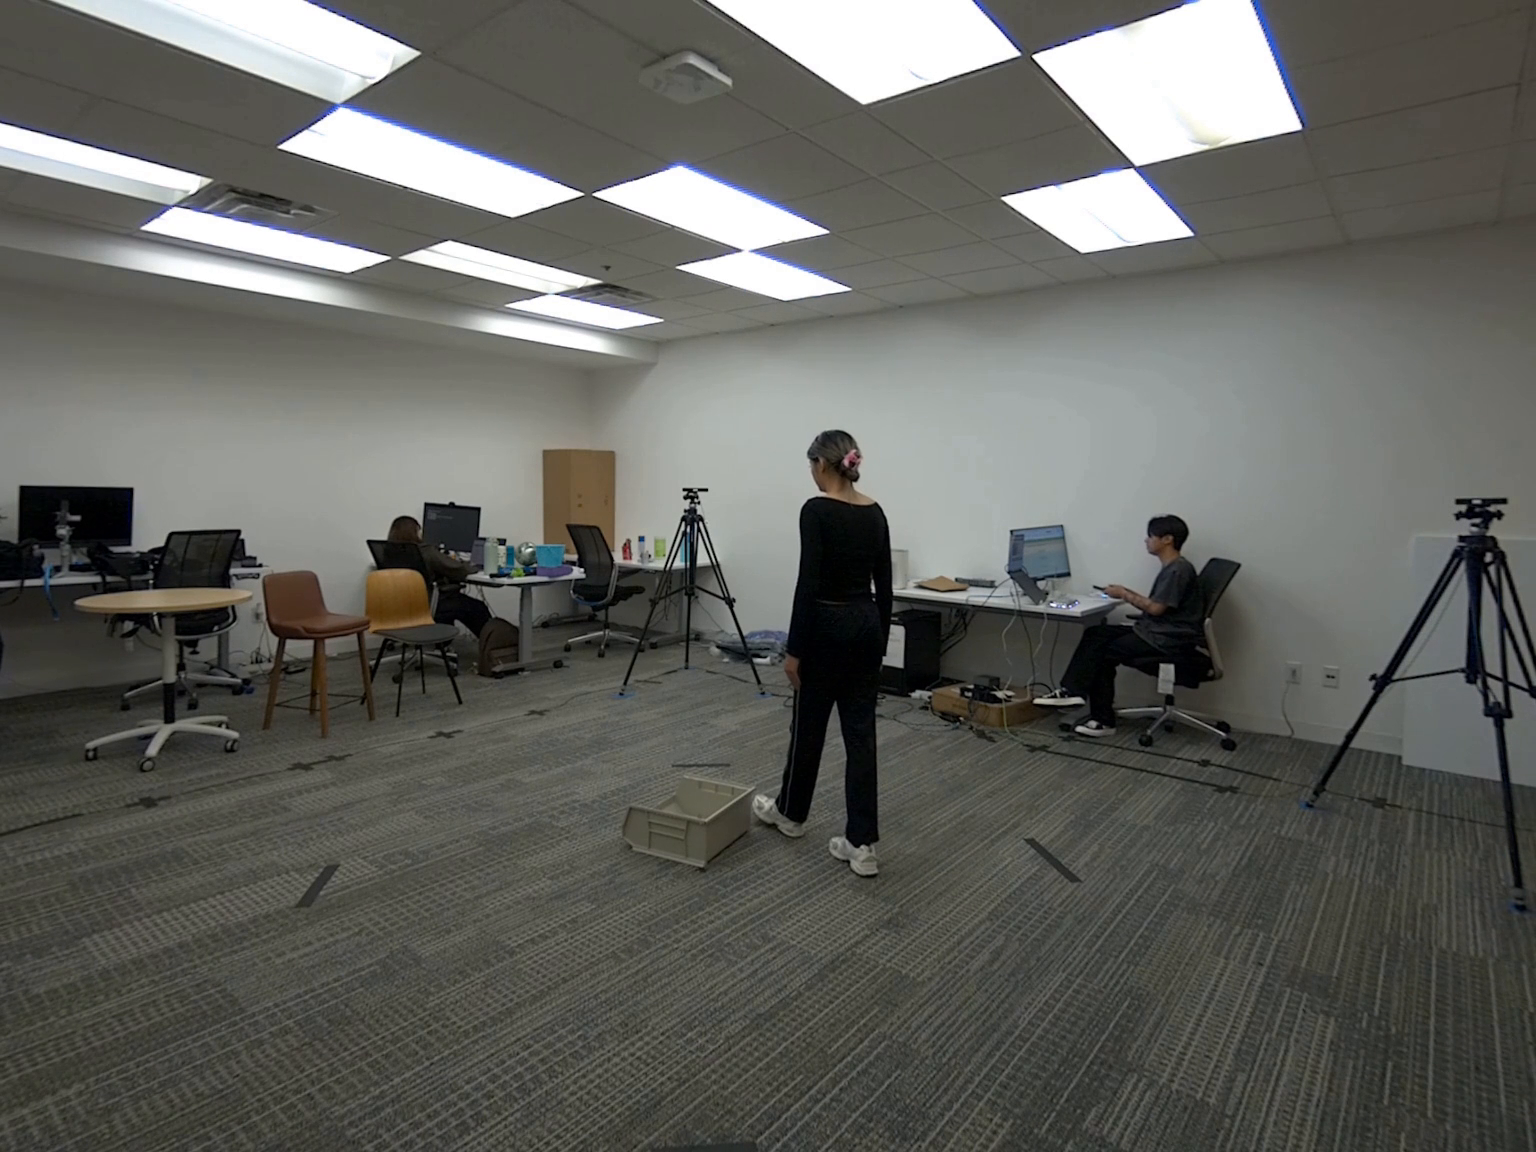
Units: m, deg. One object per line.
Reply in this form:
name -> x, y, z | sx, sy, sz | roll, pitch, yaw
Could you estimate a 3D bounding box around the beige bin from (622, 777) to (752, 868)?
beige bin -> -0.319, 0.956, 3.379 | 0.388, 0.188, 0.413 | 4, 6, 26
